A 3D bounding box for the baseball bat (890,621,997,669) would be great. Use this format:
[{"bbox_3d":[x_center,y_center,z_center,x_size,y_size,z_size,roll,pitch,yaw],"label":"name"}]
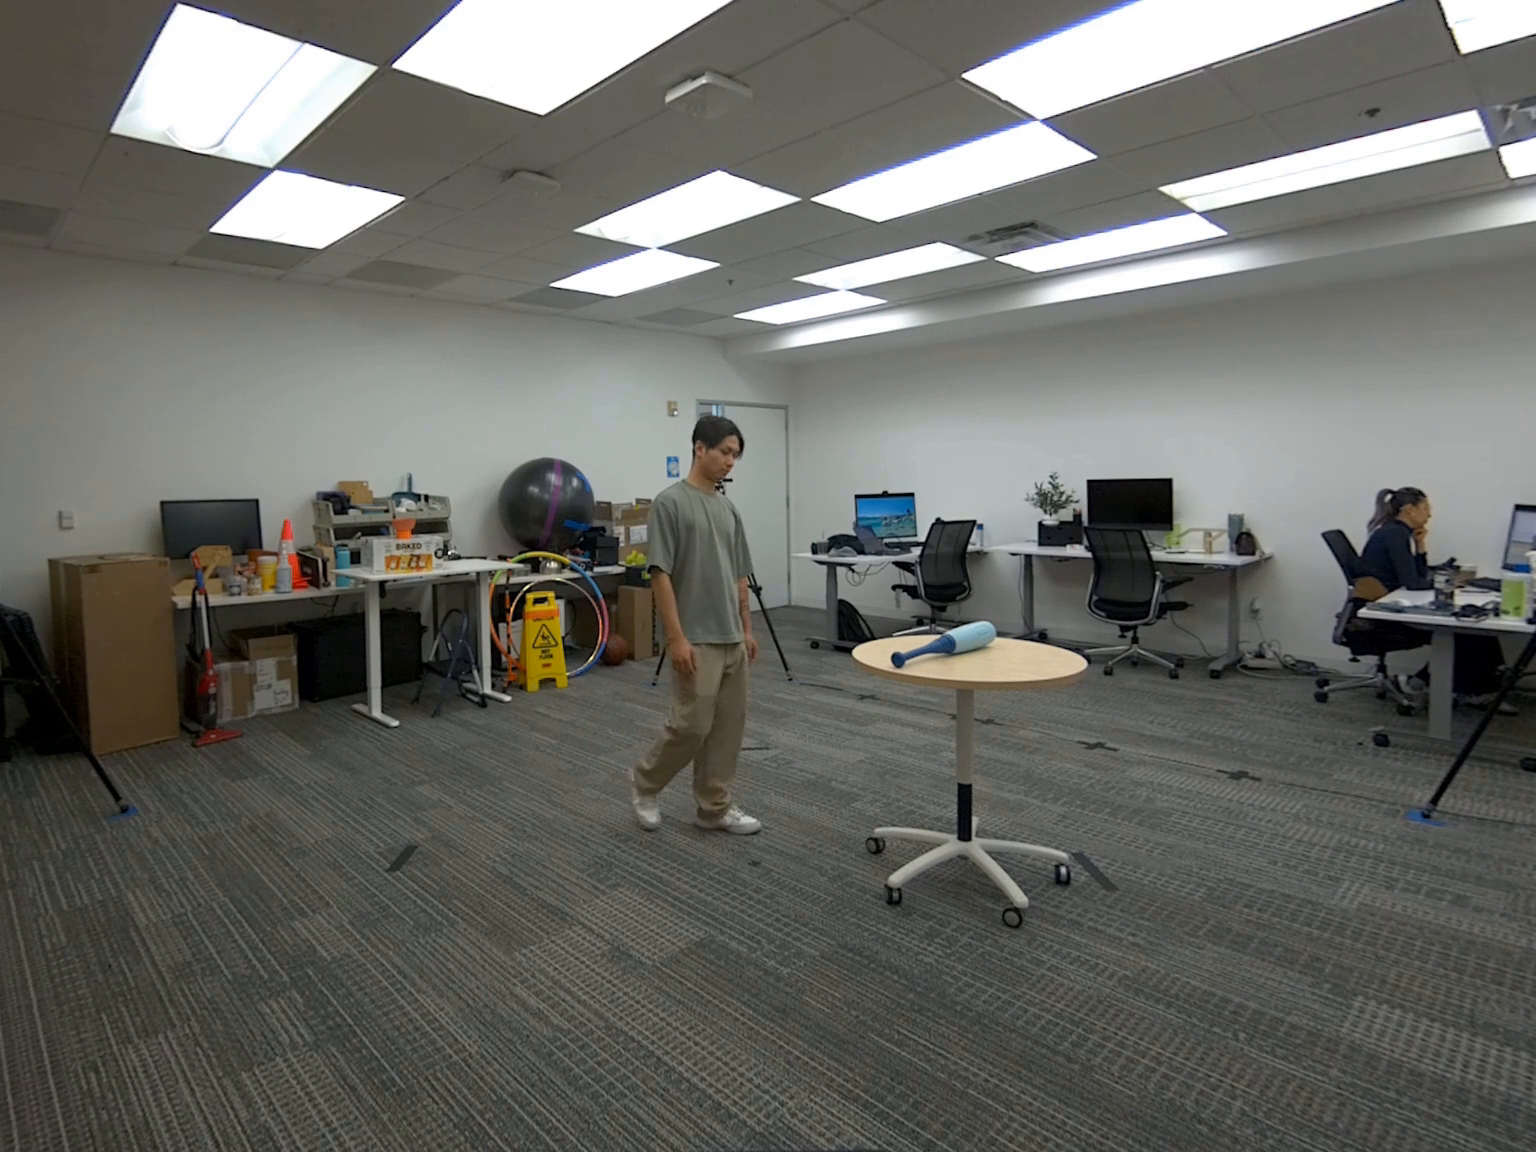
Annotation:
[{"bbox_3d":[0.600,0.235,2.901,0.530,0.088,0.092,-10,10,-43],"label":"baseball bat"}]
